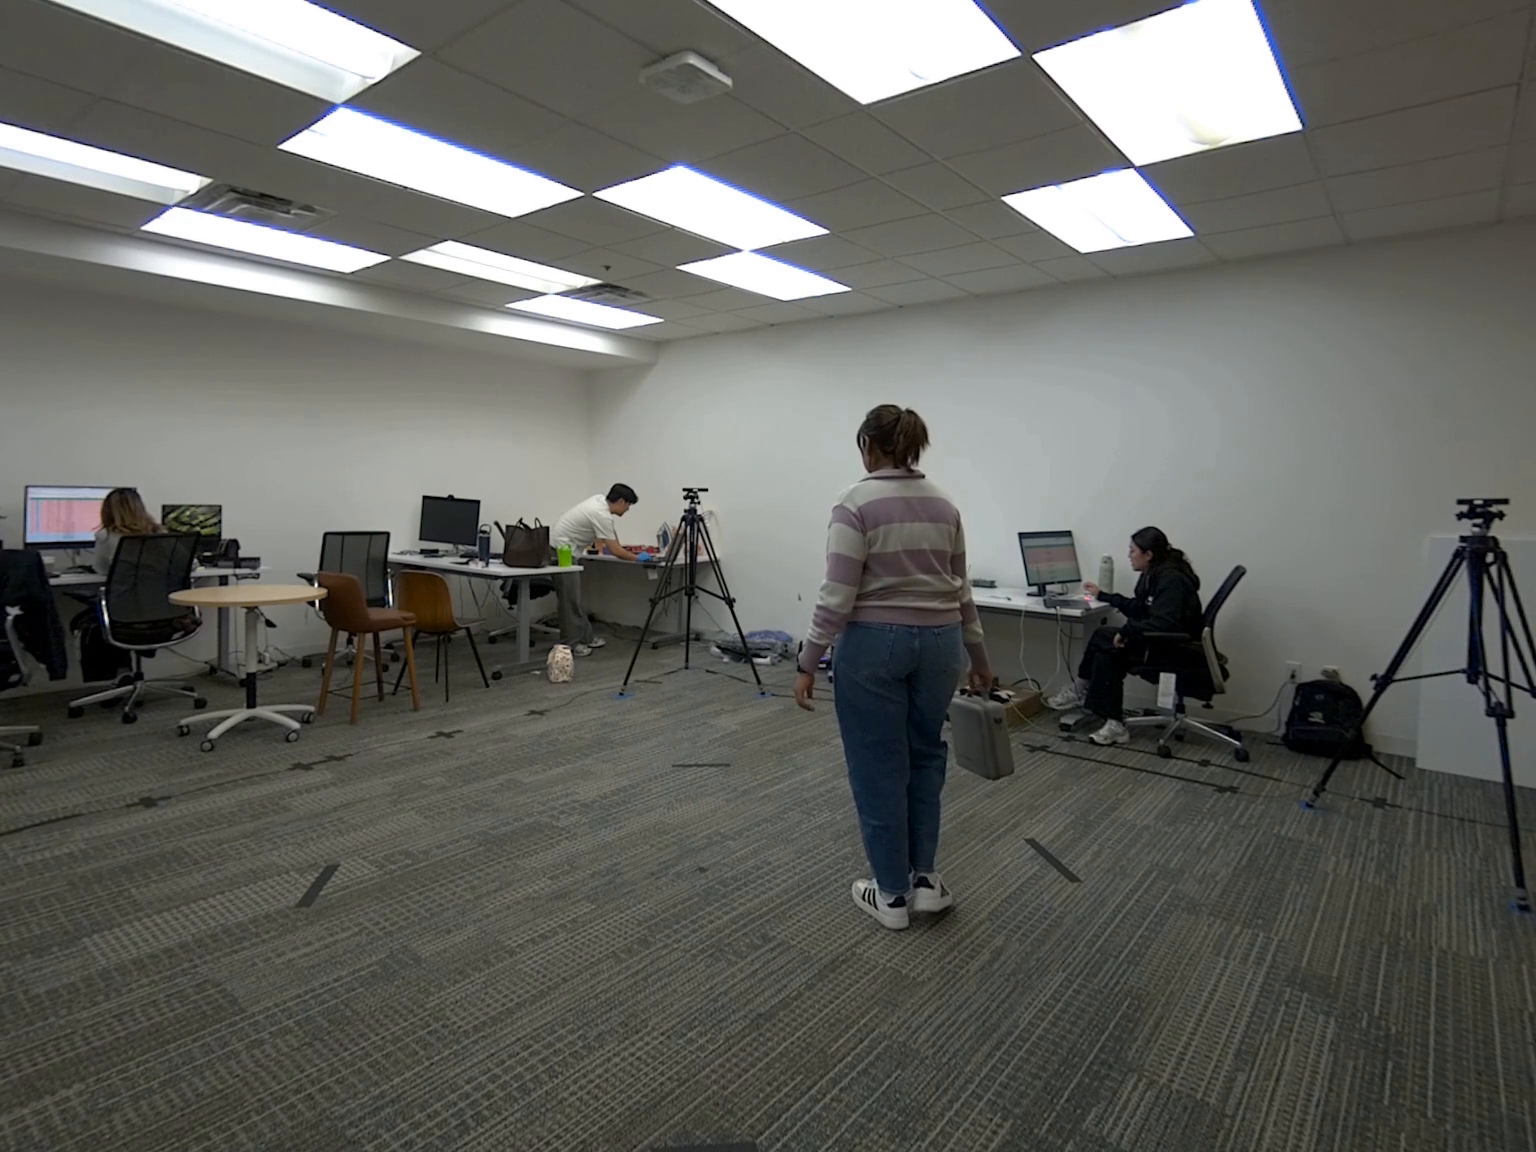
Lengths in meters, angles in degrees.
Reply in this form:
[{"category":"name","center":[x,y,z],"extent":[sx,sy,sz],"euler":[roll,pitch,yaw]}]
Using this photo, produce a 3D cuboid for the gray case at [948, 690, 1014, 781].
[{"category":"gray case","center":[0.725,0.548,2.954],"extent":[0.103,0.260,0.260],"euler":[-7,1,-12]}]
